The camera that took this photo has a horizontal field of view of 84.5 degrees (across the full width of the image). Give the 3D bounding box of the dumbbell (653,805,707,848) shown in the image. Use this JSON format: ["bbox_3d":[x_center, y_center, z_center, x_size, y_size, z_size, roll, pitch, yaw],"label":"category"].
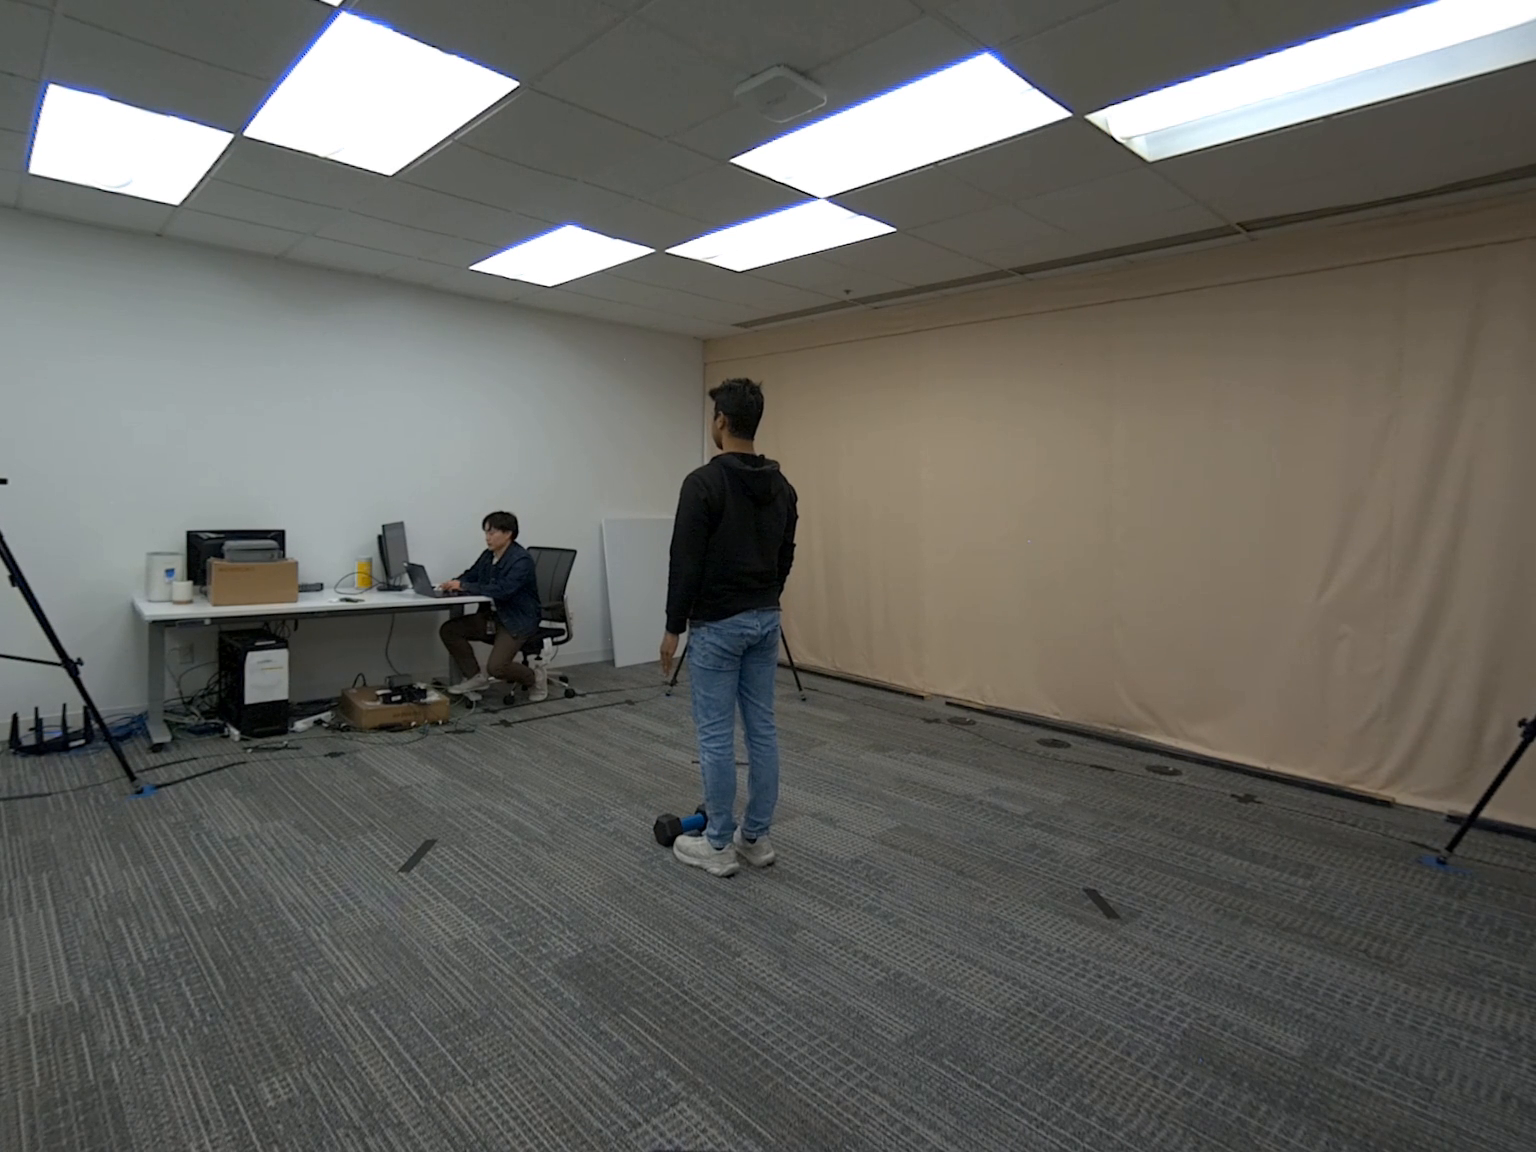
[{"bbox_3d":[-0.332,1.018,3.455,0.287,0.108,0.126,-3,6,-42],"label":"dumbbell"}]
